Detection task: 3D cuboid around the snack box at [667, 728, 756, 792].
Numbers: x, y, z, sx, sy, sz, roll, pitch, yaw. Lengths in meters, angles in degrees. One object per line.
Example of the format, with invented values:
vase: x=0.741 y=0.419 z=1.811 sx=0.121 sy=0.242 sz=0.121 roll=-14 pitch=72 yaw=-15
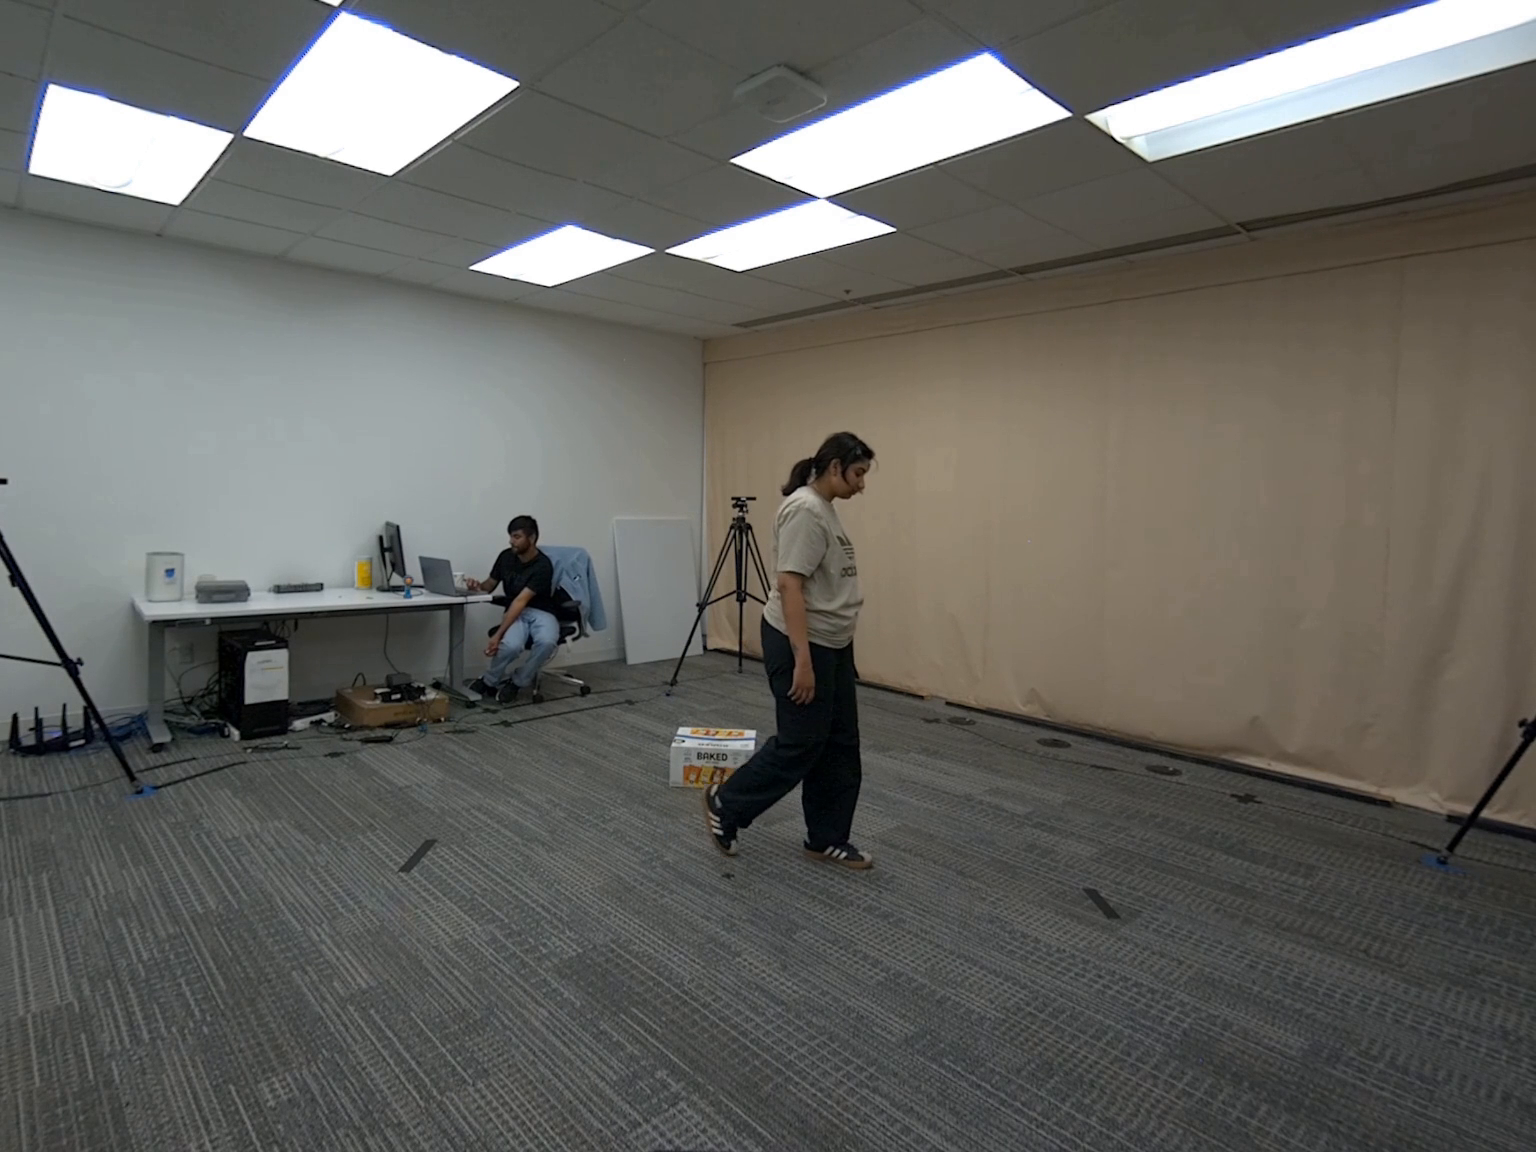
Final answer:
snack box: x=-0.276 y=0.914 z=4.208 sx=0.406 sy=0.205 sz=0.340 roll=2 pitch=4 yaw=2
